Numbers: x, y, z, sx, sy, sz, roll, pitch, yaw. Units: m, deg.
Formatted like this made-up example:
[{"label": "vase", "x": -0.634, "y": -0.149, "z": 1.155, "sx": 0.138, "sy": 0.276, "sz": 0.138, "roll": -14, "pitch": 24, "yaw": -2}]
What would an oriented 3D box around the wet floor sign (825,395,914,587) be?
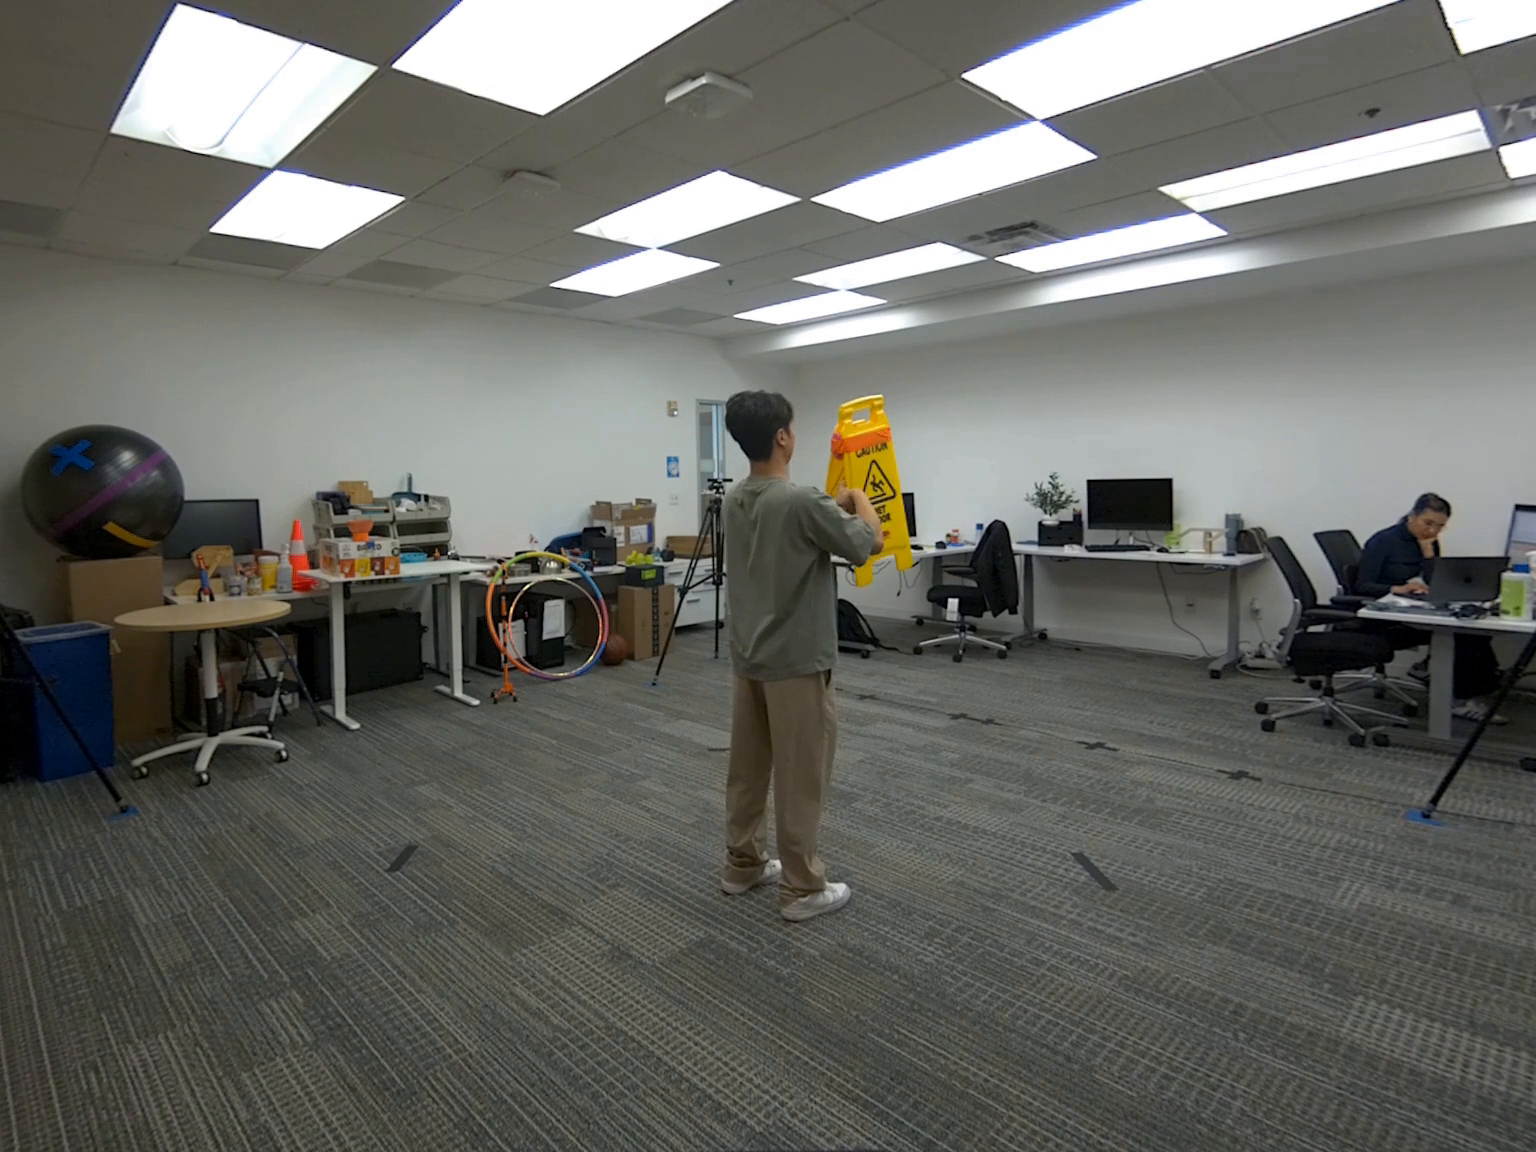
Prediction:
[{"label": "wet floor sign", "x": 0.352, "y": -0.329, "z": 3.116, "sx": 0.277, "sy": 0.633, "sz": 0.301, "roll": -19, "pitch": 28, "yaw": -32}]
